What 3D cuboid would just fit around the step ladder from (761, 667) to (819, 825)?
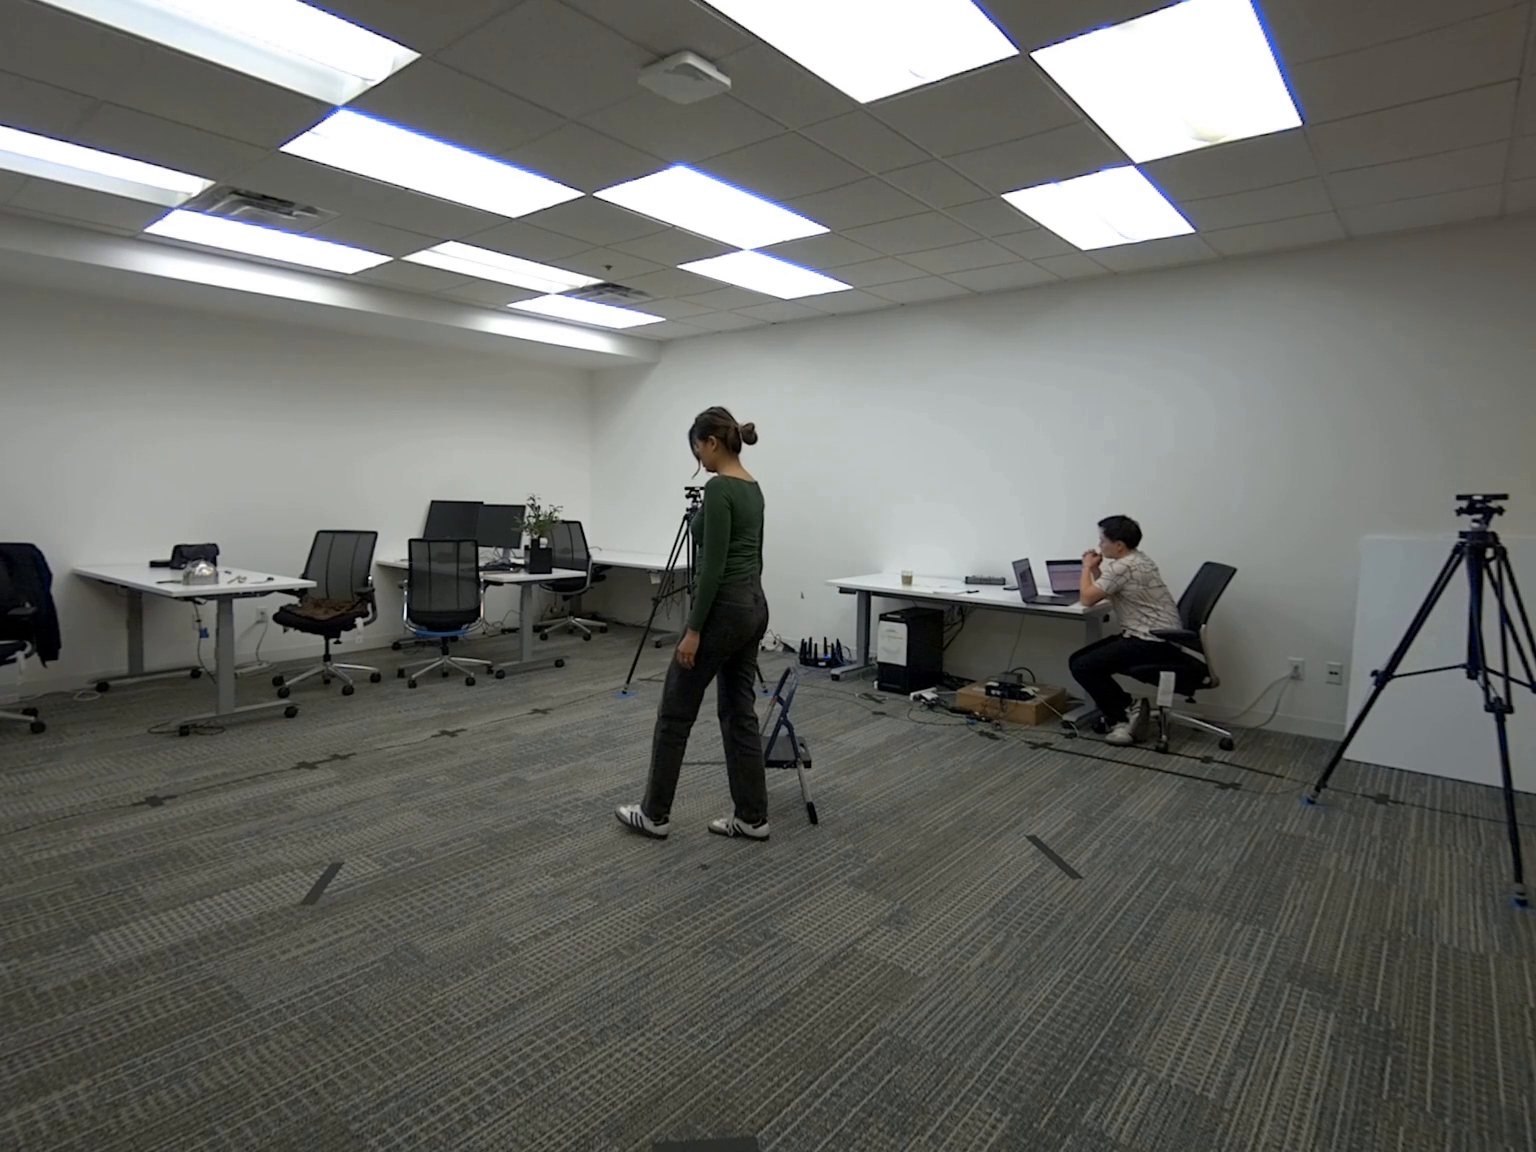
[{"bbox_3d":[0.026,0.706,3.723,0.349,0.604,0.433,0,4,-3],"label":"step ladder"}]
